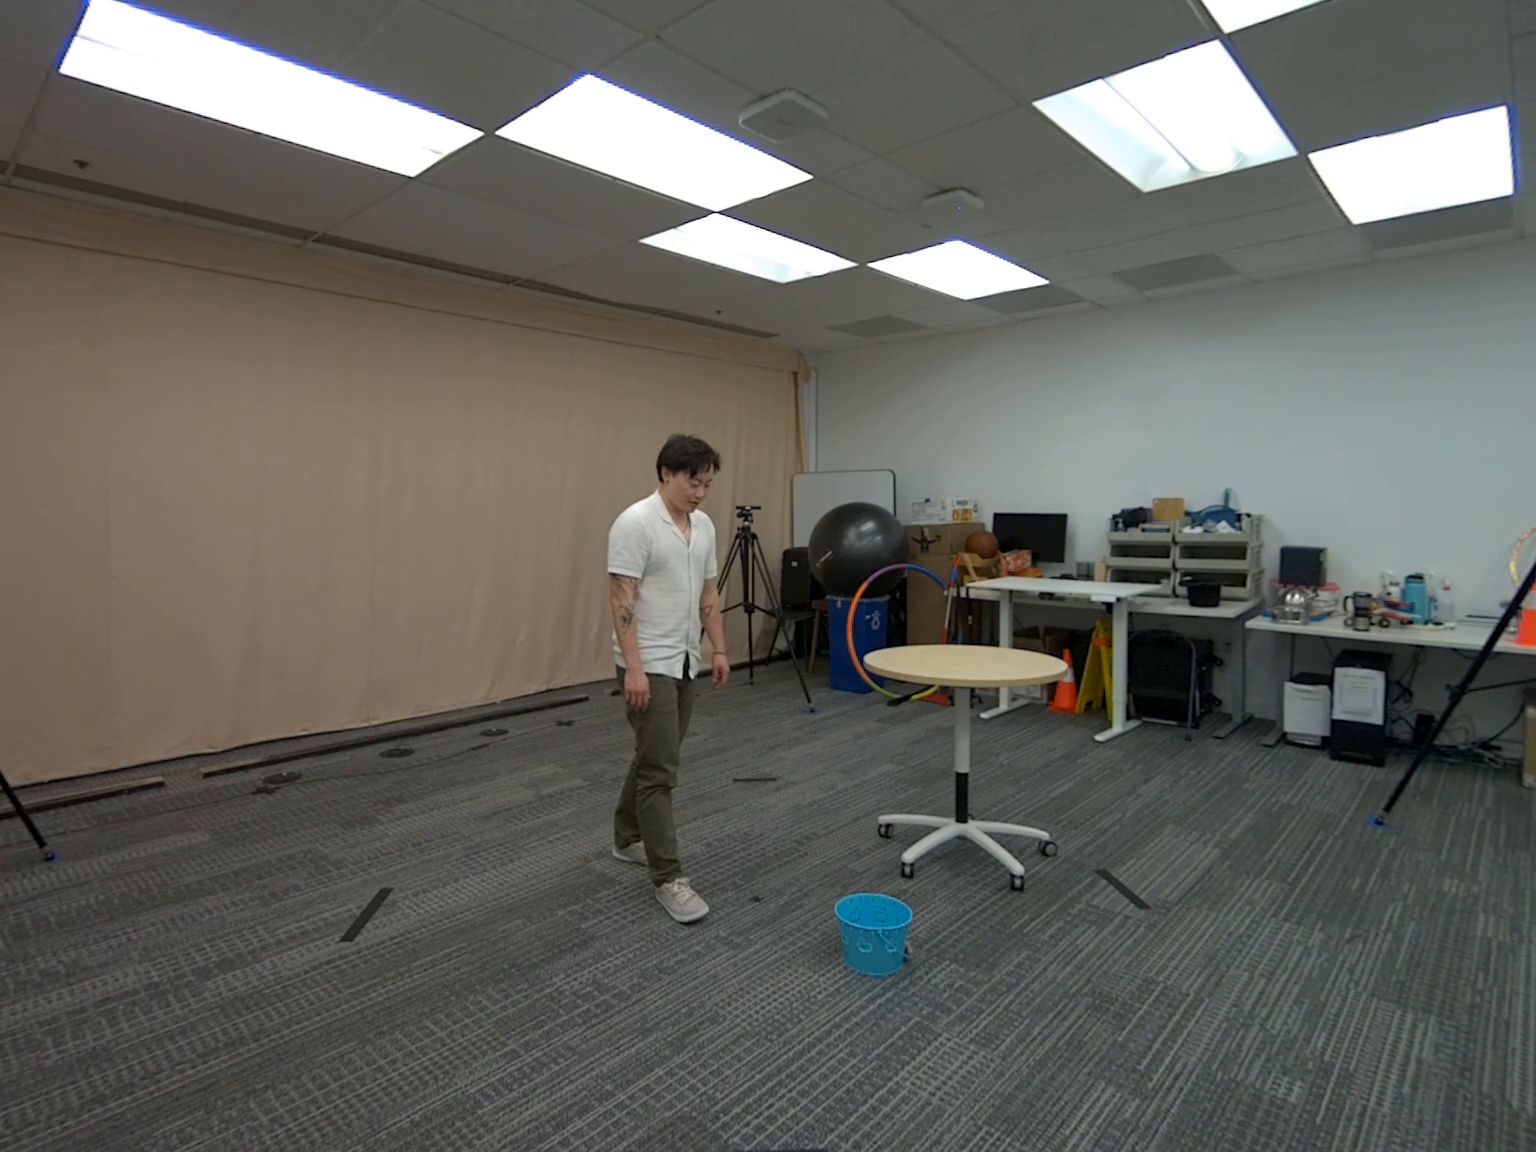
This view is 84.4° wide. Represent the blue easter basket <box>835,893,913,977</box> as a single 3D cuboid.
[{"bbox_3d":[0.333,1.098,2.578,0.243,0.155,0.244,0,4,-2],"label":"blue easter basket"}]
